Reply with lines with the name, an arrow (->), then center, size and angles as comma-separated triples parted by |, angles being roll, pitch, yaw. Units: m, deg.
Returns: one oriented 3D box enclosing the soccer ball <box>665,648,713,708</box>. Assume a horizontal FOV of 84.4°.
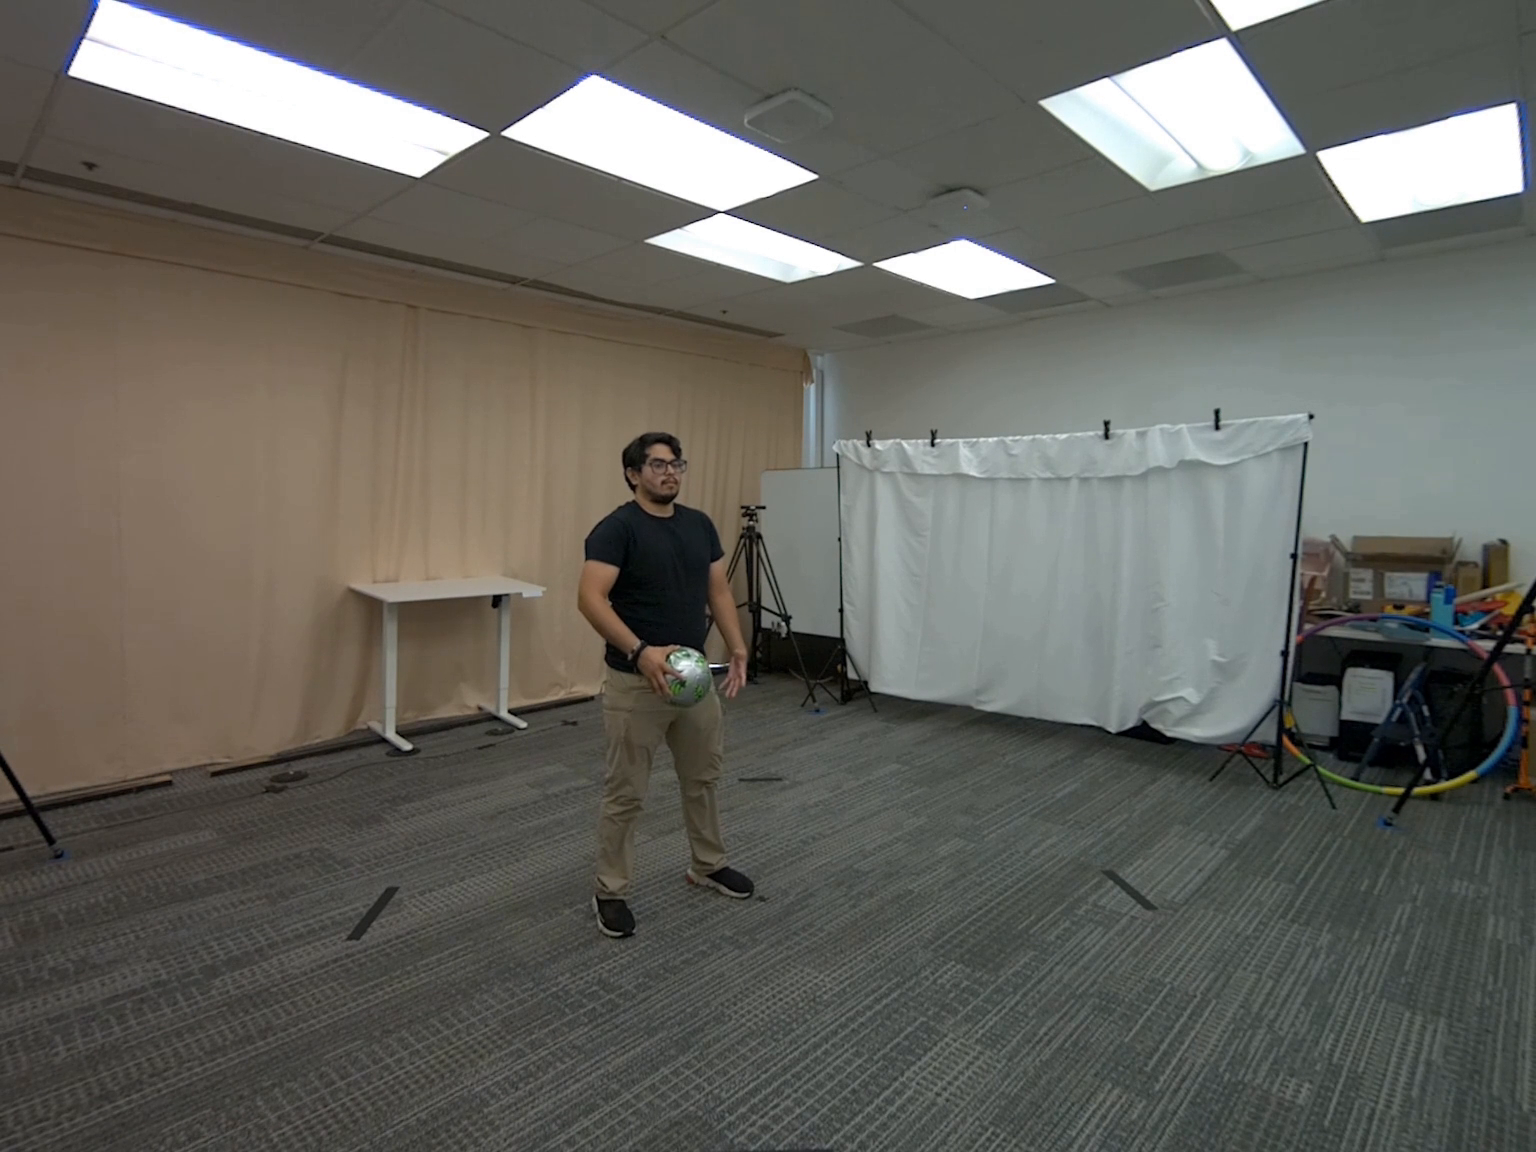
soccer ball -> -0.270, 0.308, 2.595 | 0.187, 0.187, 0.188 | 0, 4, -2
